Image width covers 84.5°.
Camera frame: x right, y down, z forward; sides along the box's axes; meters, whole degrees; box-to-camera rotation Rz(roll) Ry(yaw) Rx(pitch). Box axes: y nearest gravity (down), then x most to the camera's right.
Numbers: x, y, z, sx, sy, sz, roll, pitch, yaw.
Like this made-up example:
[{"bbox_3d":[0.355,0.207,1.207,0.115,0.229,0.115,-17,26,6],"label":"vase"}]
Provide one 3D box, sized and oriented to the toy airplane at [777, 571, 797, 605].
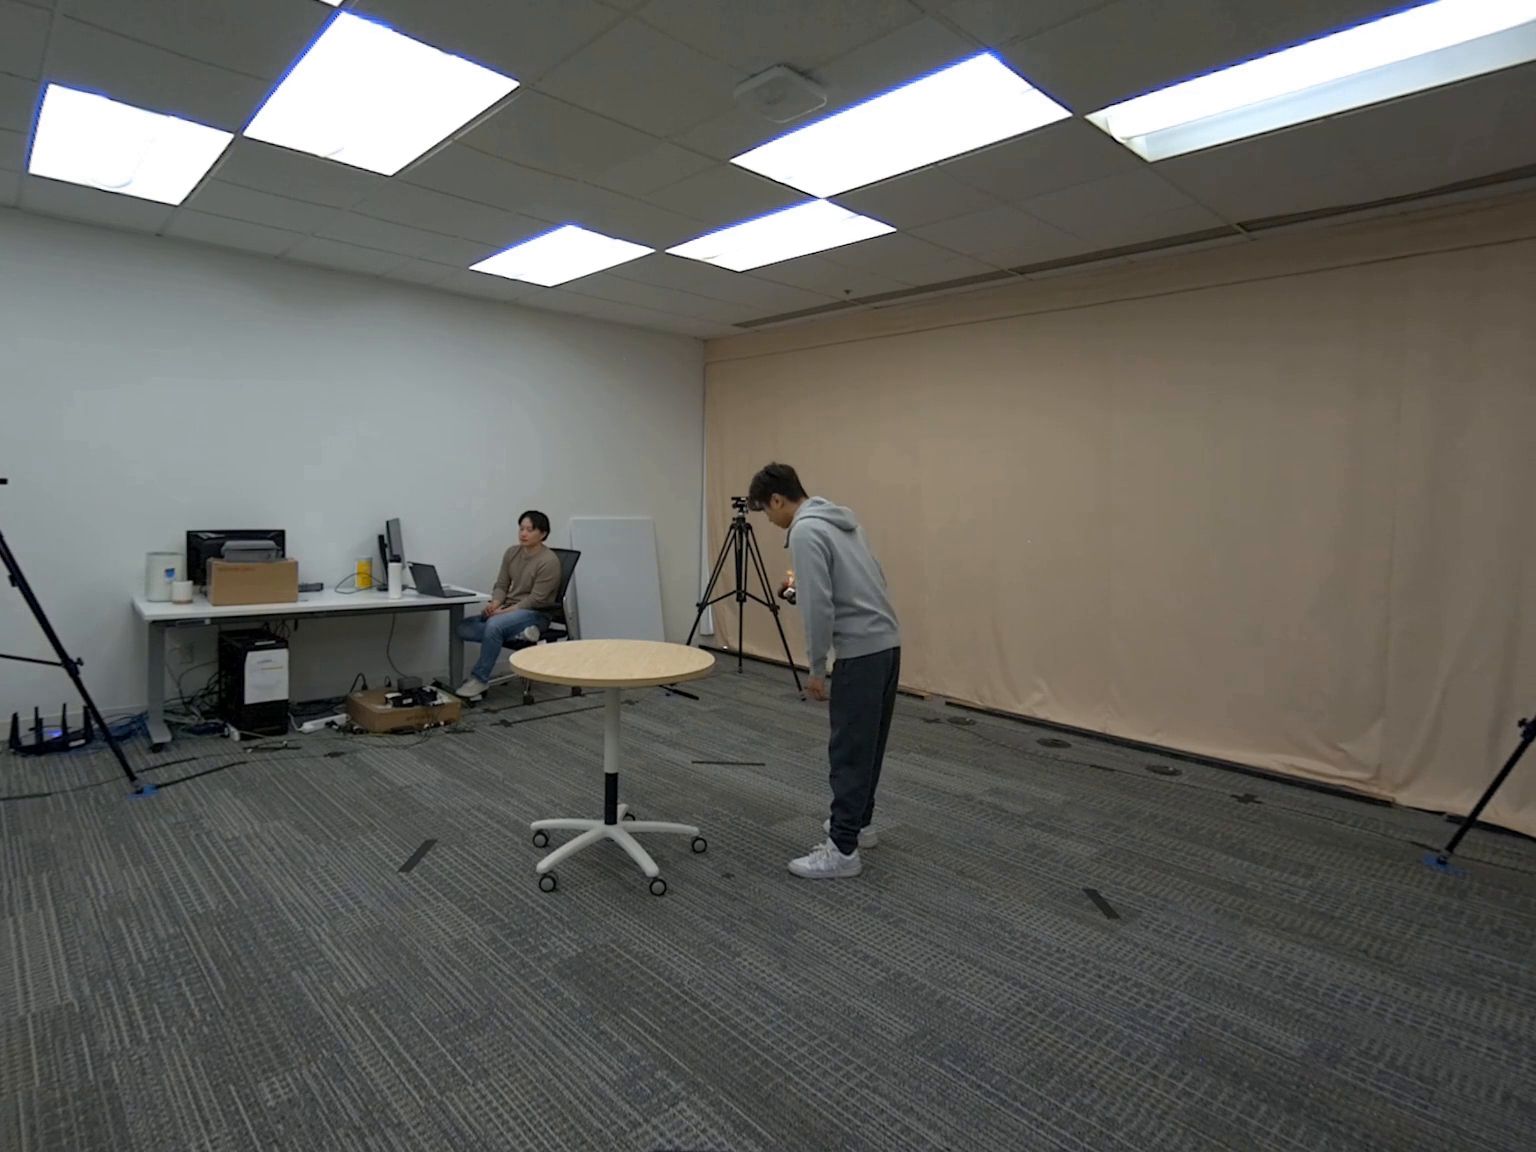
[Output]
[{"bbox_3d":[0.160,0.083,3.699,0.258,0.156,0.251,32,-3,32],"label":"toy airplane"}]
